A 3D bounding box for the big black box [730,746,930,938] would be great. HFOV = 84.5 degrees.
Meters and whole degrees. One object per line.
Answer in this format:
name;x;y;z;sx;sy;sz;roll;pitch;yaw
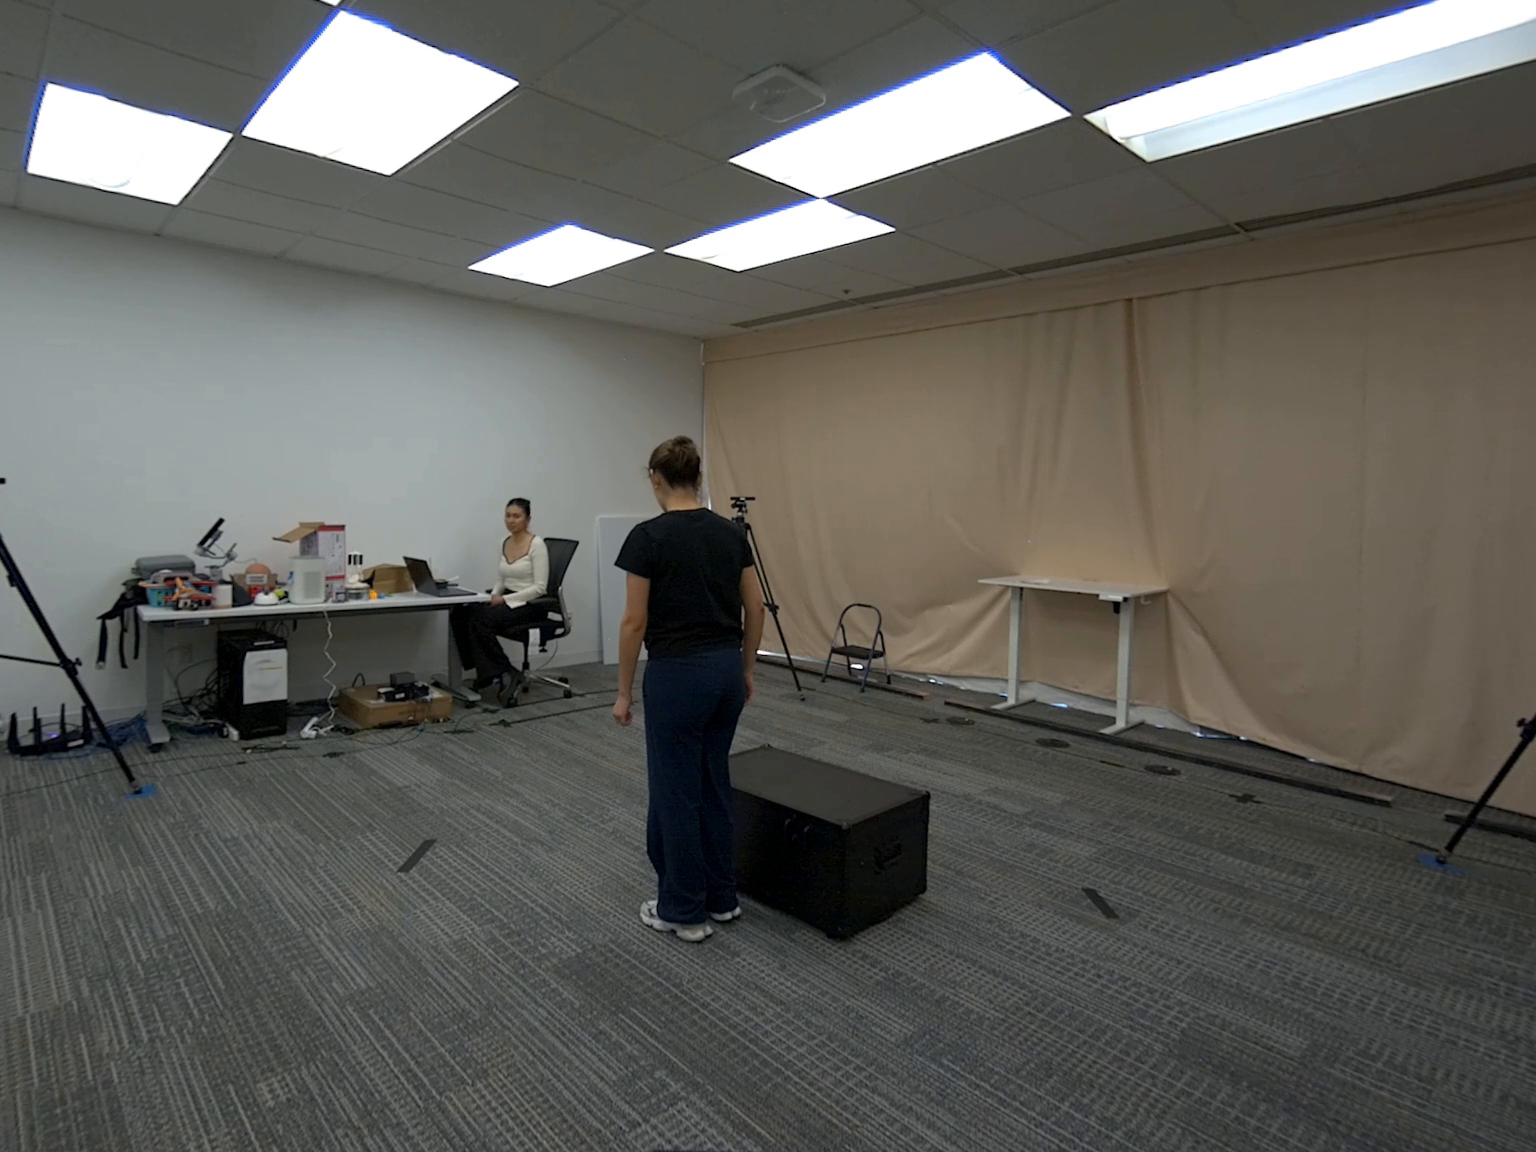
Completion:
big black box;0.091;0.925;3.076;0.884;0.395;0.509;7;7;43
